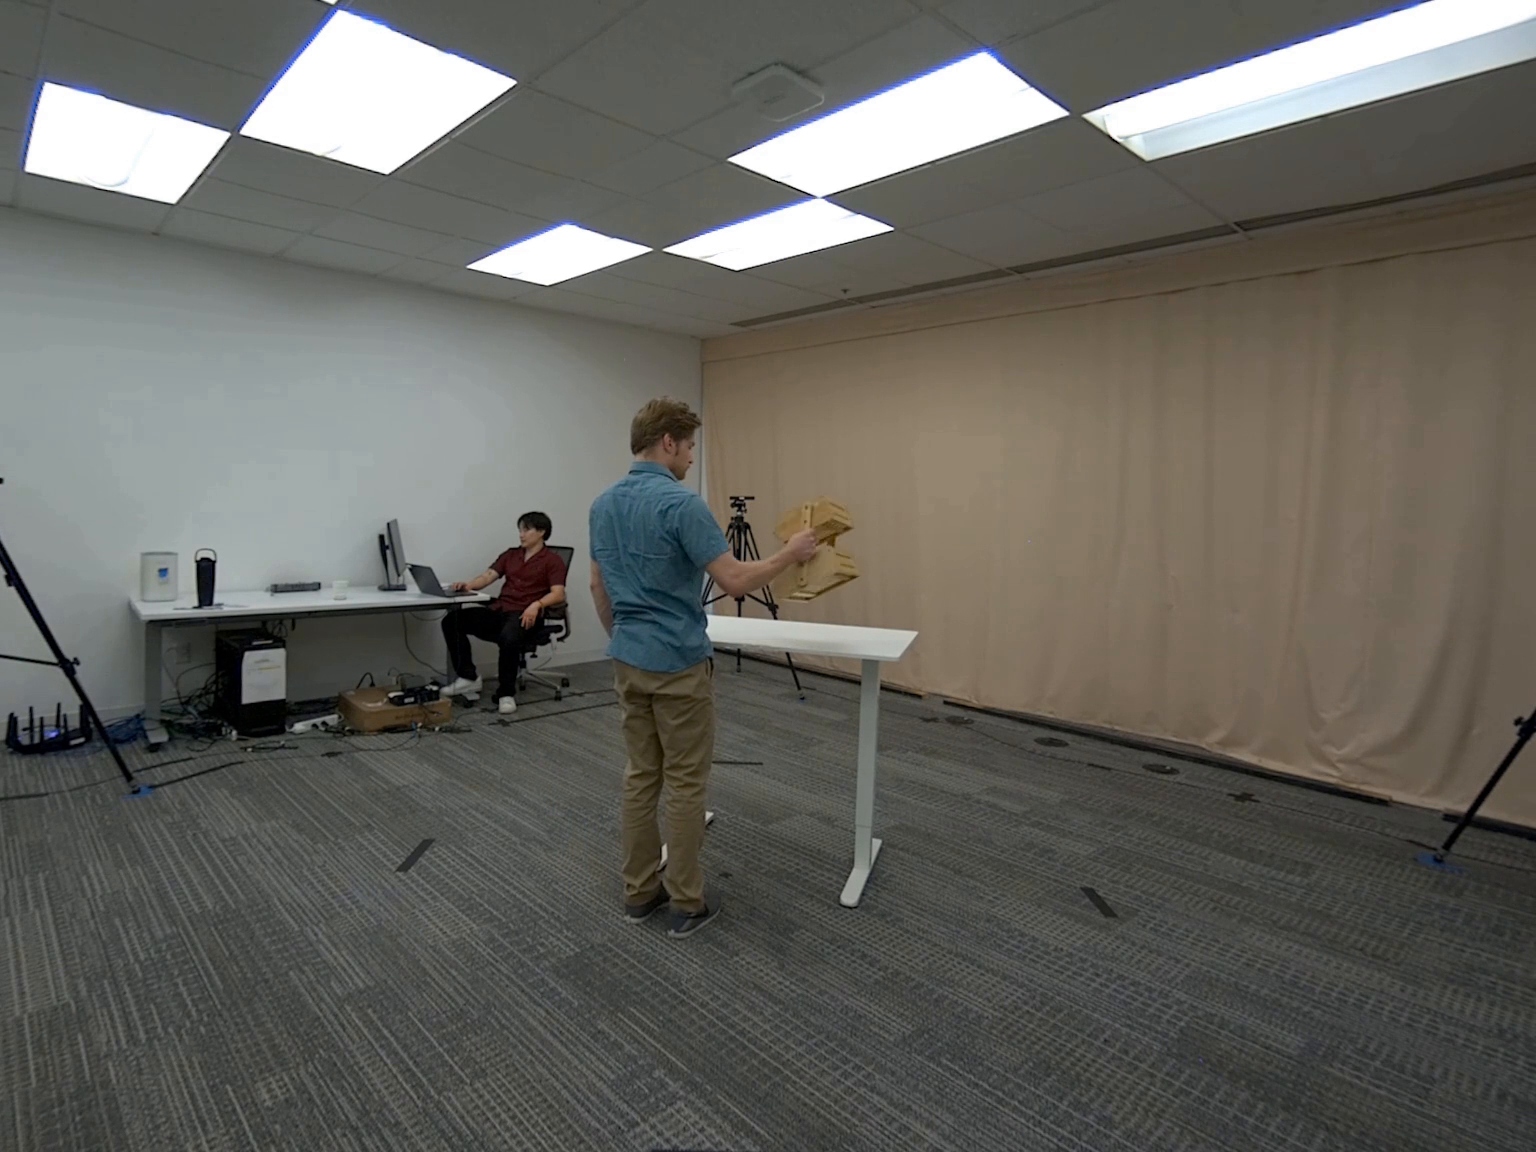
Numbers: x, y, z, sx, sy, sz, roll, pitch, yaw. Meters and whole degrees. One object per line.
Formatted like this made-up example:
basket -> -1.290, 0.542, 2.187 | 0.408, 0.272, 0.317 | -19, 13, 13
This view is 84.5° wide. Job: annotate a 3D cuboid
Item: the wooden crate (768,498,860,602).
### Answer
wooden crate -> 0.134, -0.086, 2.939 | 0.304, 0.277, 0.318 | -27, -12, 16
